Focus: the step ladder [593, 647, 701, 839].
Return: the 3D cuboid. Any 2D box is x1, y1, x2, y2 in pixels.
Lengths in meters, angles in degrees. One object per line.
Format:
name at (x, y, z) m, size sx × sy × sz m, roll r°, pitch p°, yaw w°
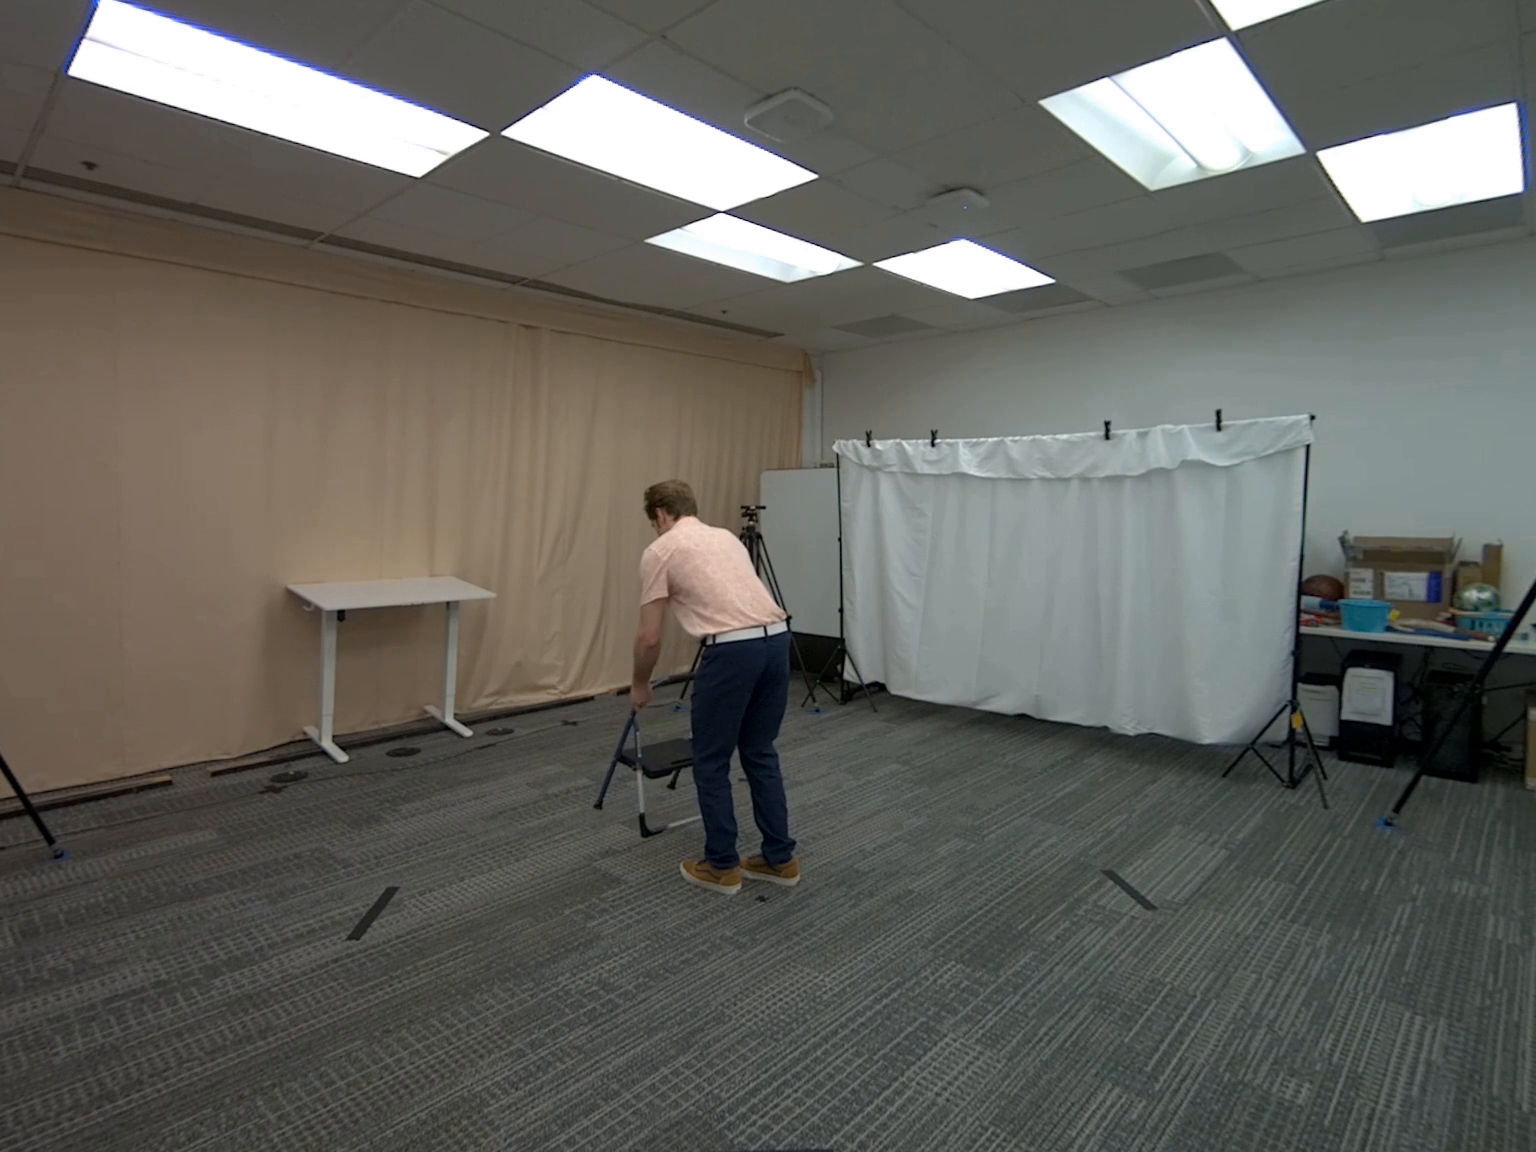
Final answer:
step ladder at (-0.425, 0.678, 3.463) m, size 0.417 × 0.603 × 0.362 m, roll -2°, pitch 11°, yaw -45°
